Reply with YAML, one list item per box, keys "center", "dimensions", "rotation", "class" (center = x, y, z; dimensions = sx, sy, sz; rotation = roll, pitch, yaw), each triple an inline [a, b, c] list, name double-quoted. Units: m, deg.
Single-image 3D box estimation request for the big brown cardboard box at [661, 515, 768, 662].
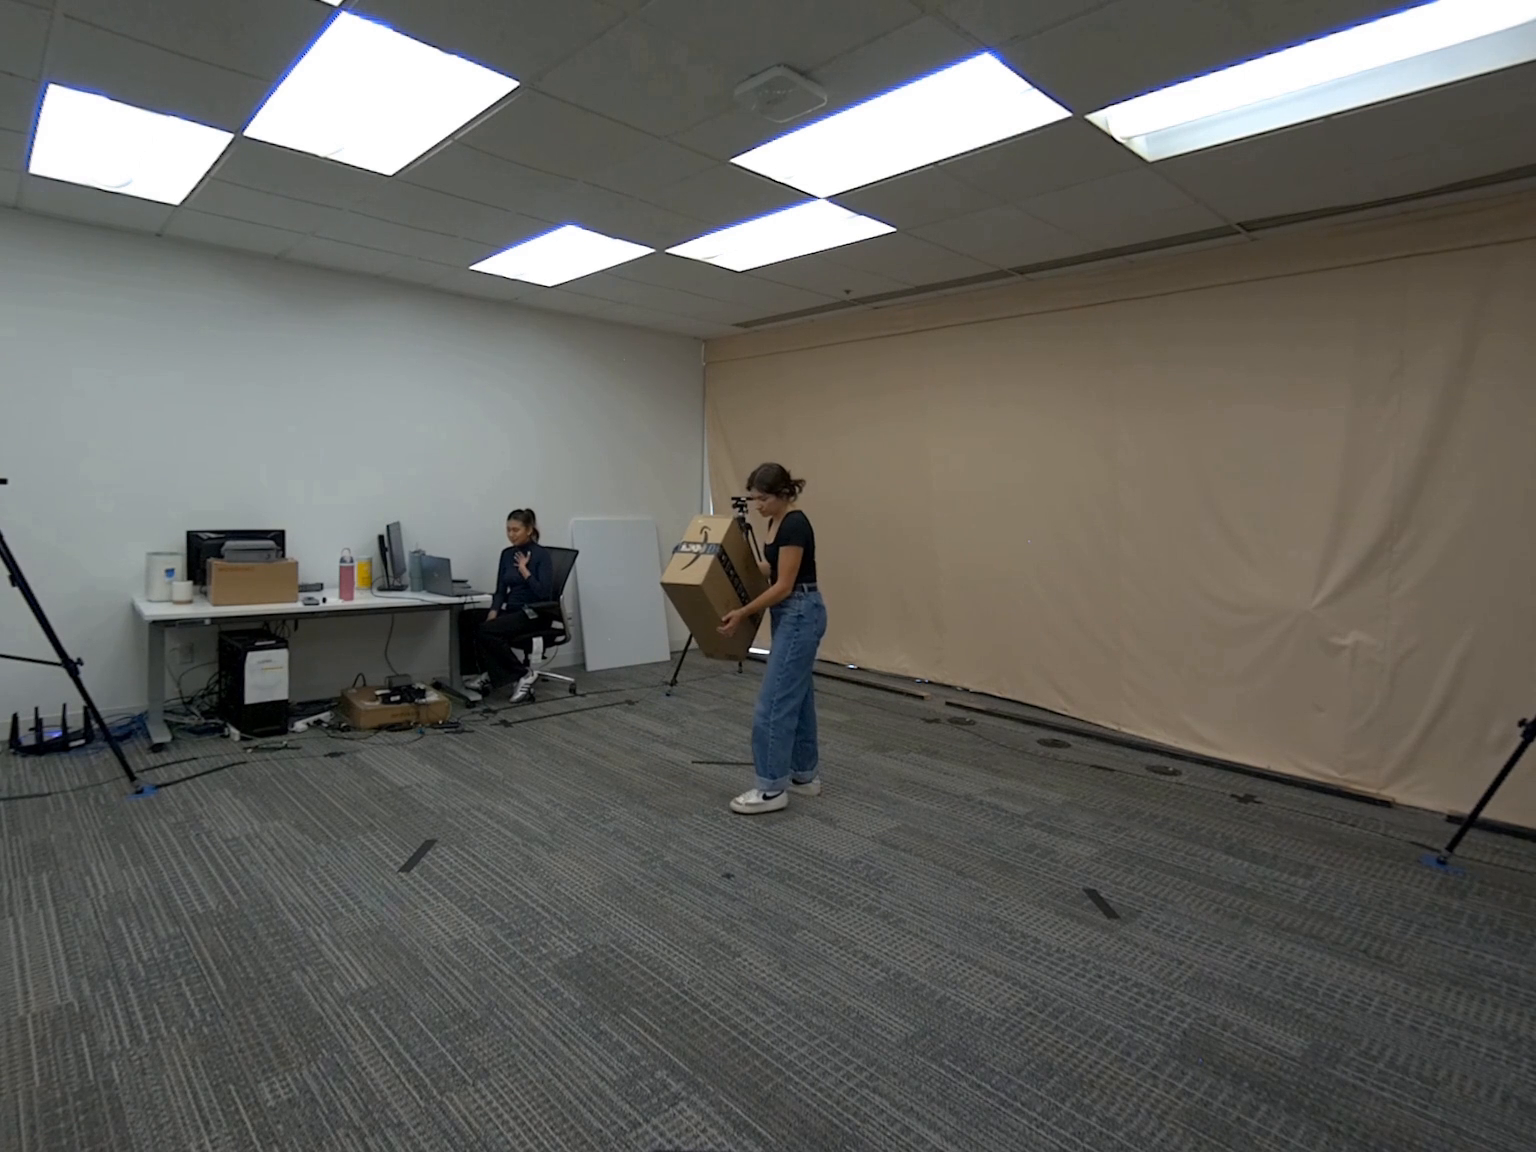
- center: [-0.239, 0.062, 3.940]
  dimensions: [0.238, 0.421, 0.571]
  rotation: [2, -41, 30]
  class: "big brown cardboard box"
